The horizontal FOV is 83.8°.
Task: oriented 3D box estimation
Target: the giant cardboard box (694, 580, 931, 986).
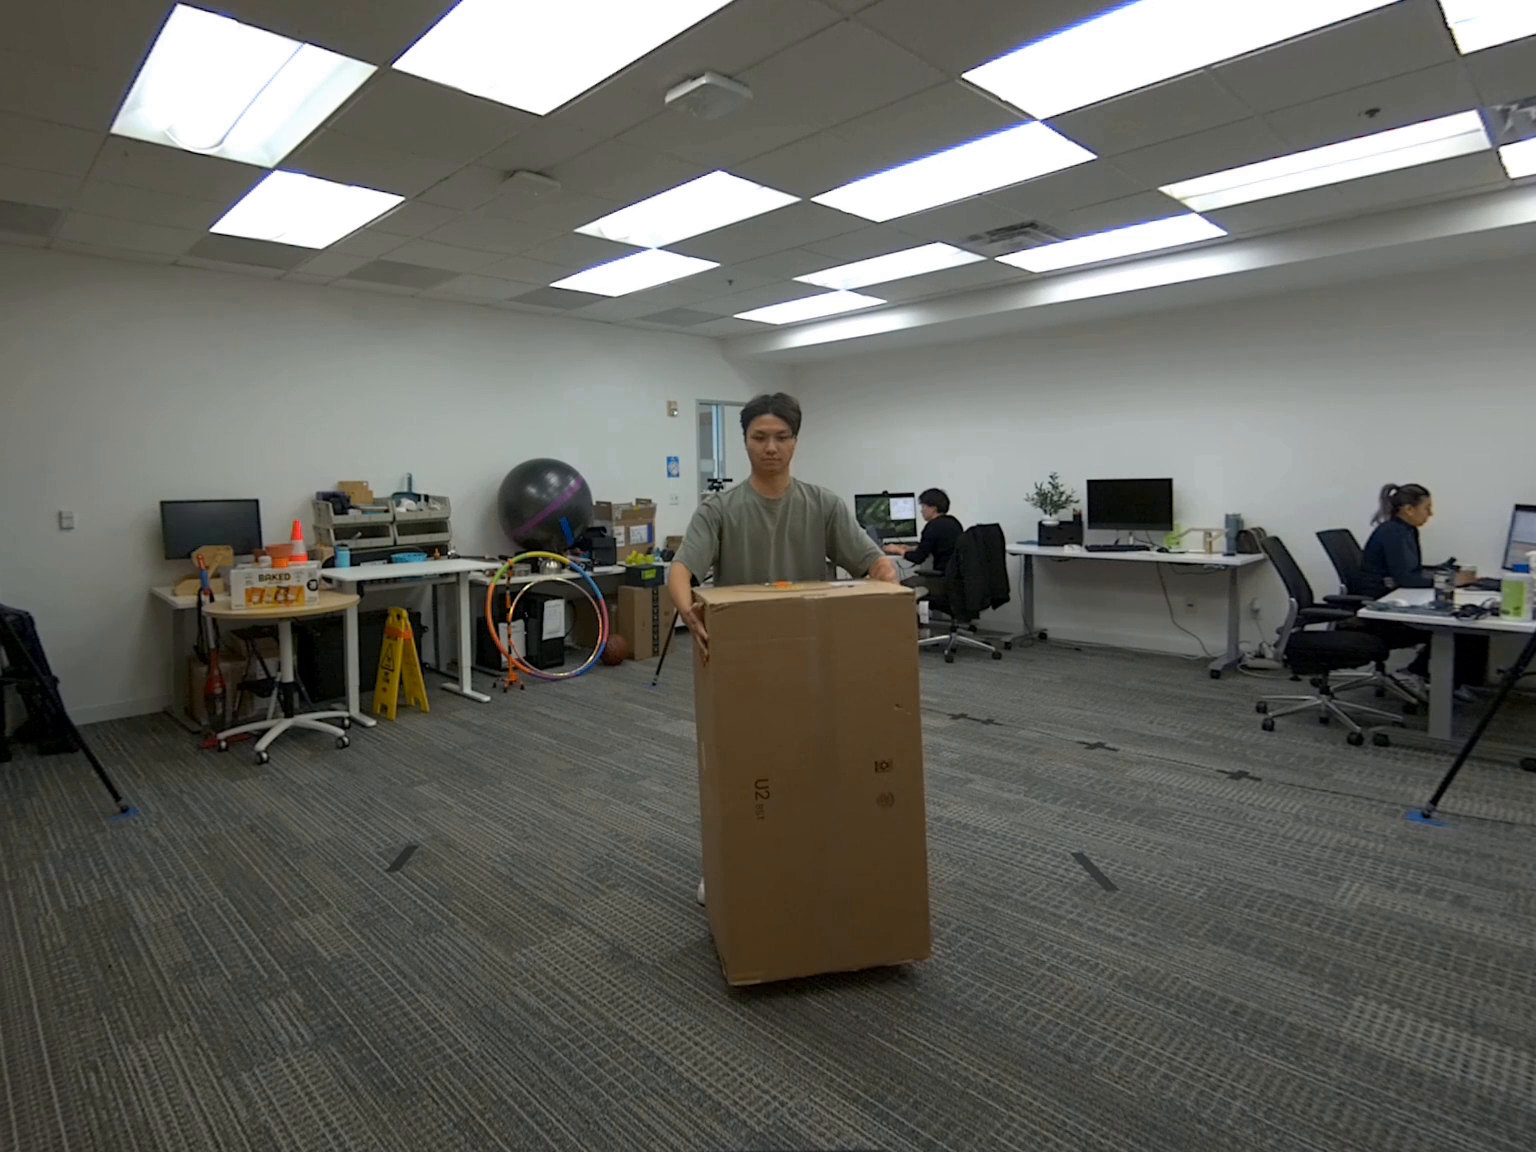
[{"bbox_3d":[0.100,0.554,2.493,0.573,1.023,0.431,-3,2,-9],"label":"giant cardboard box"}]
